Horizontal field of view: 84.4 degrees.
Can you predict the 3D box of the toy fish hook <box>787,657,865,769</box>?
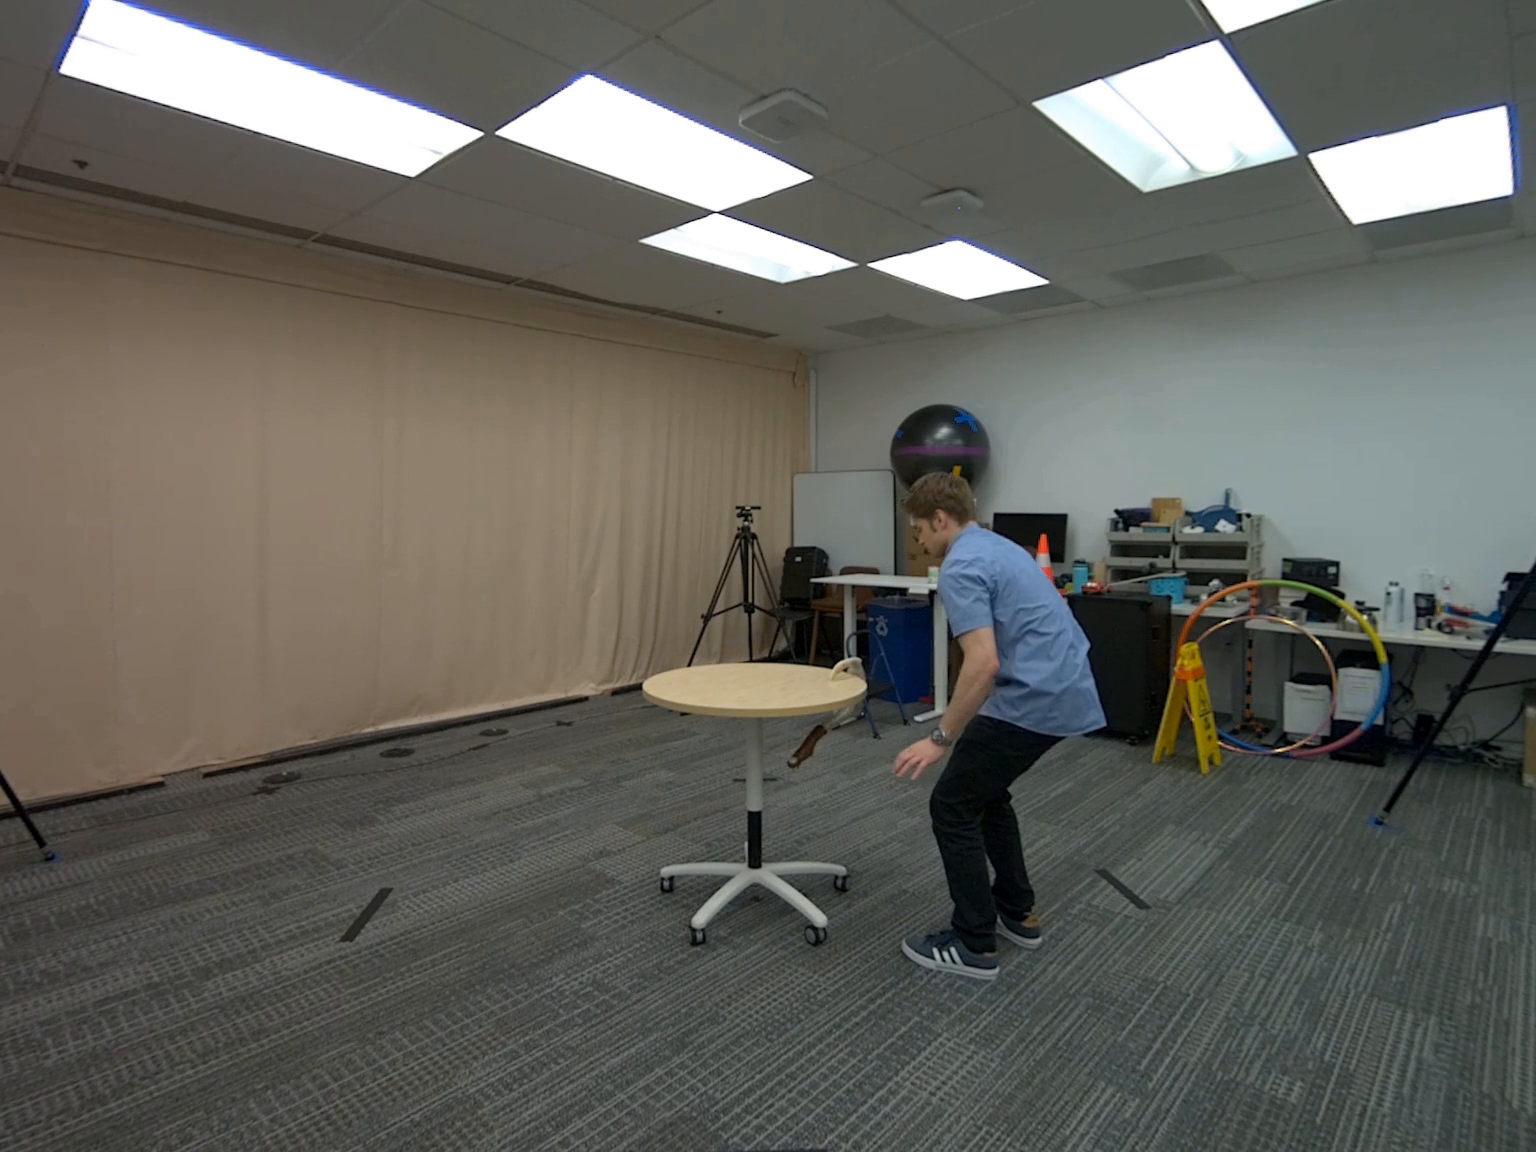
[{"bbox_3d":[0.212,0.465,2.918,0.050,0.221,0.499,-1,27,40],"label":"toy fish hook"}]
